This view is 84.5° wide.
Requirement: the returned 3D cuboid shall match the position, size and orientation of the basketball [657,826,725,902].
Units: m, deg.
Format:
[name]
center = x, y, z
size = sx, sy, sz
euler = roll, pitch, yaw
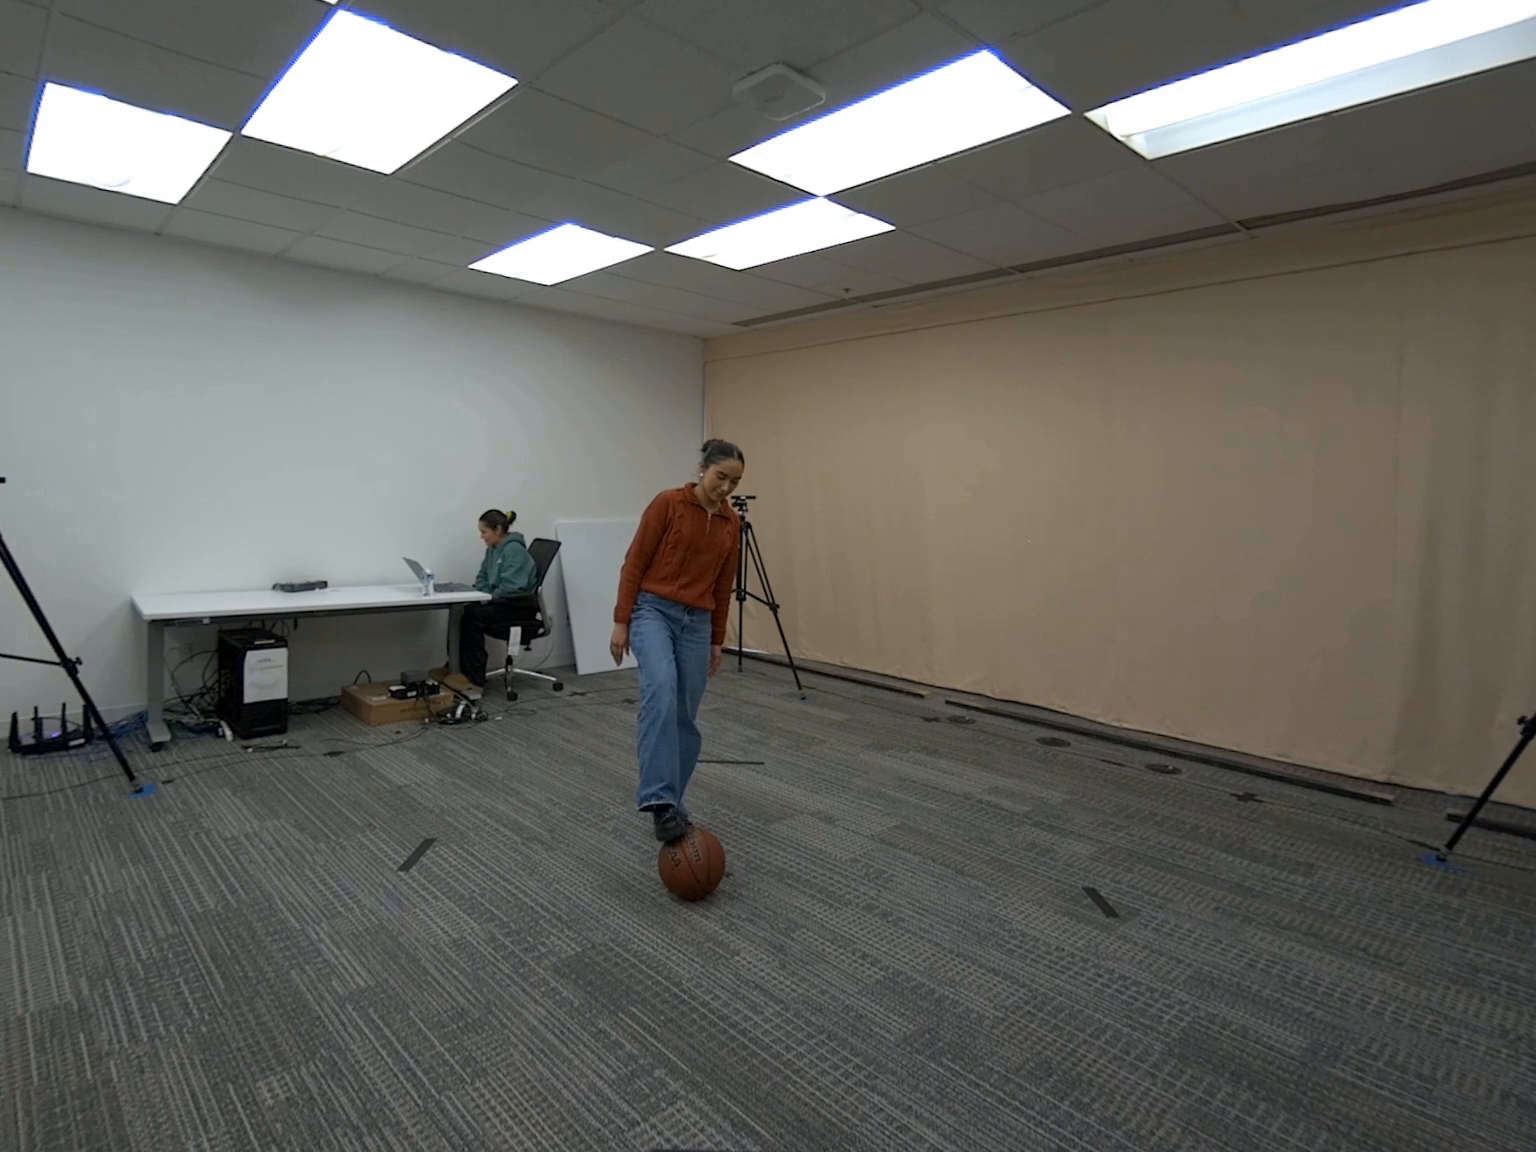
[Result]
[basketball]
center = -0.269, 0.996, 2.940
size = 0.236, 0.235, 0.237
euler = 1, 4, -1
